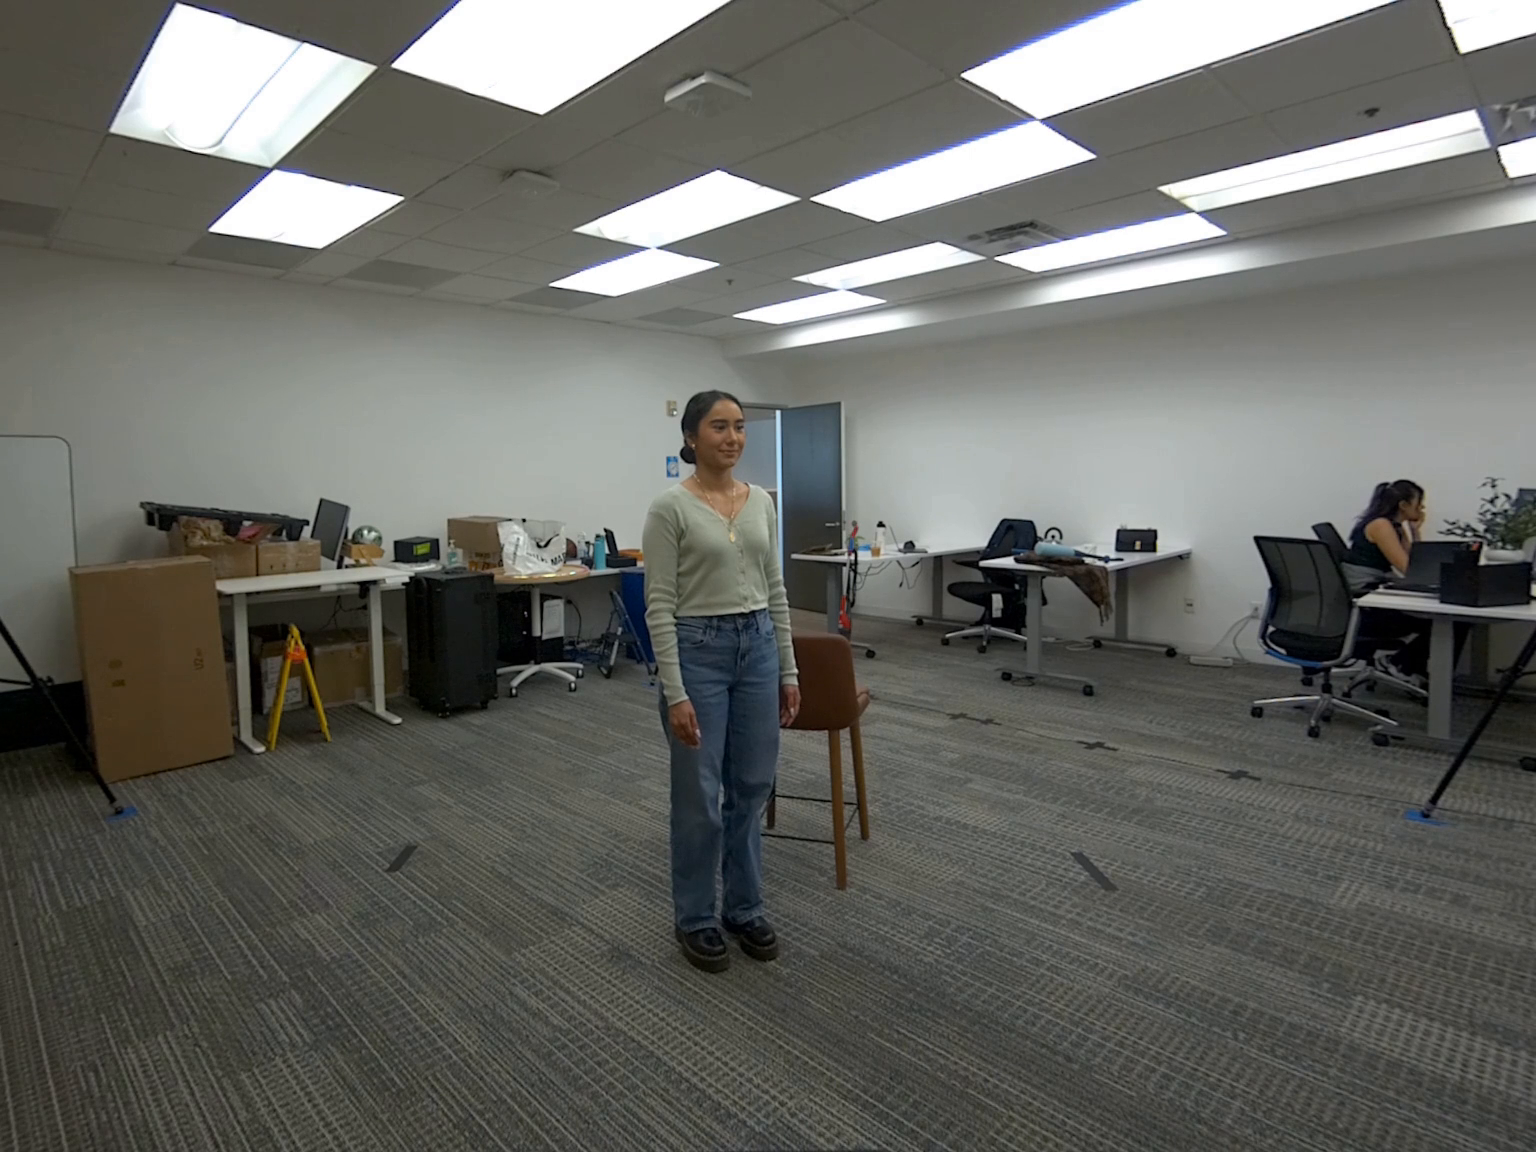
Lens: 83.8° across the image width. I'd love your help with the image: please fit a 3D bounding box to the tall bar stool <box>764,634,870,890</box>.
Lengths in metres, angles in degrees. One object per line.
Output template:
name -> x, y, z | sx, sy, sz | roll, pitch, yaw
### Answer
tall bar stool -> 0.133, 0.600, 3.125 | 0.465, 0.885, 0.462 | 0, 7, 18
